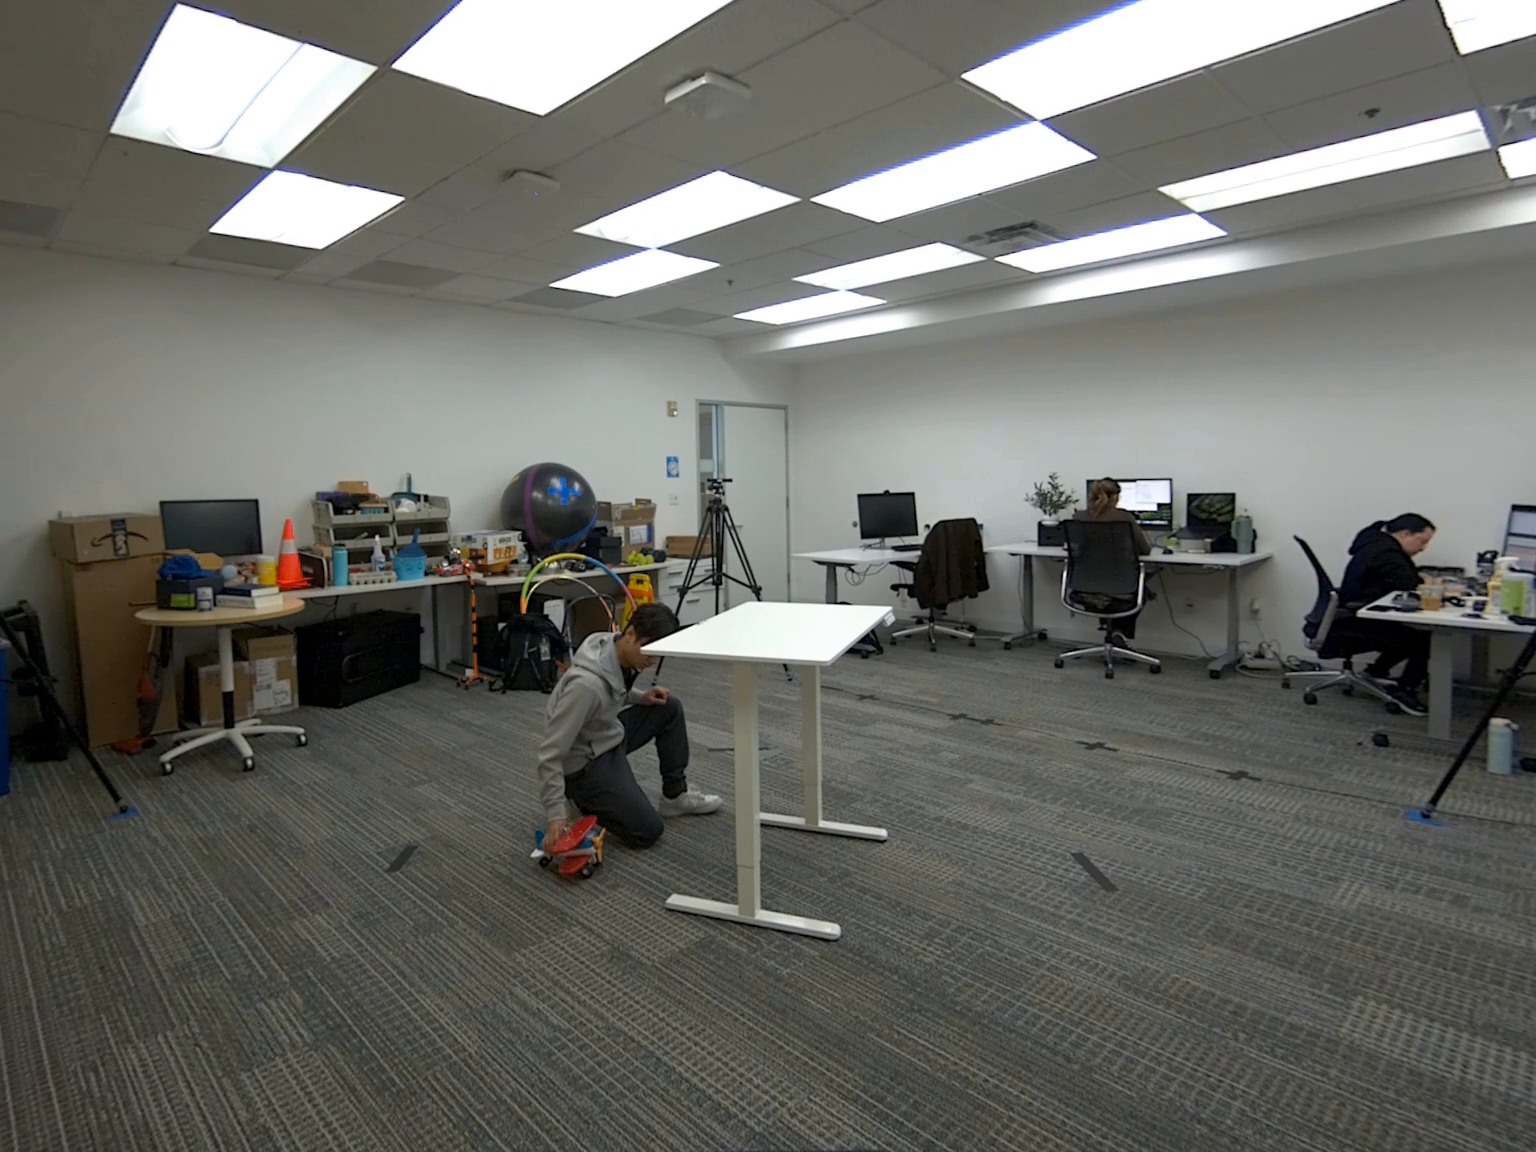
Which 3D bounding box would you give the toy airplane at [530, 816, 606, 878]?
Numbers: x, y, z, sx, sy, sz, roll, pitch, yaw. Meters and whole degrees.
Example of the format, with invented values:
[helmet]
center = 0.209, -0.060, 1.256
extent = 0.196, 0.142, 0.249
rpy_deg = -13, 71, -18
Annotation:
[toy airplane]
center = -0.722, 0.989, 3.053
extent = 0.256, 0.155, 0.256
rpy_deg = -4, 10, -14
